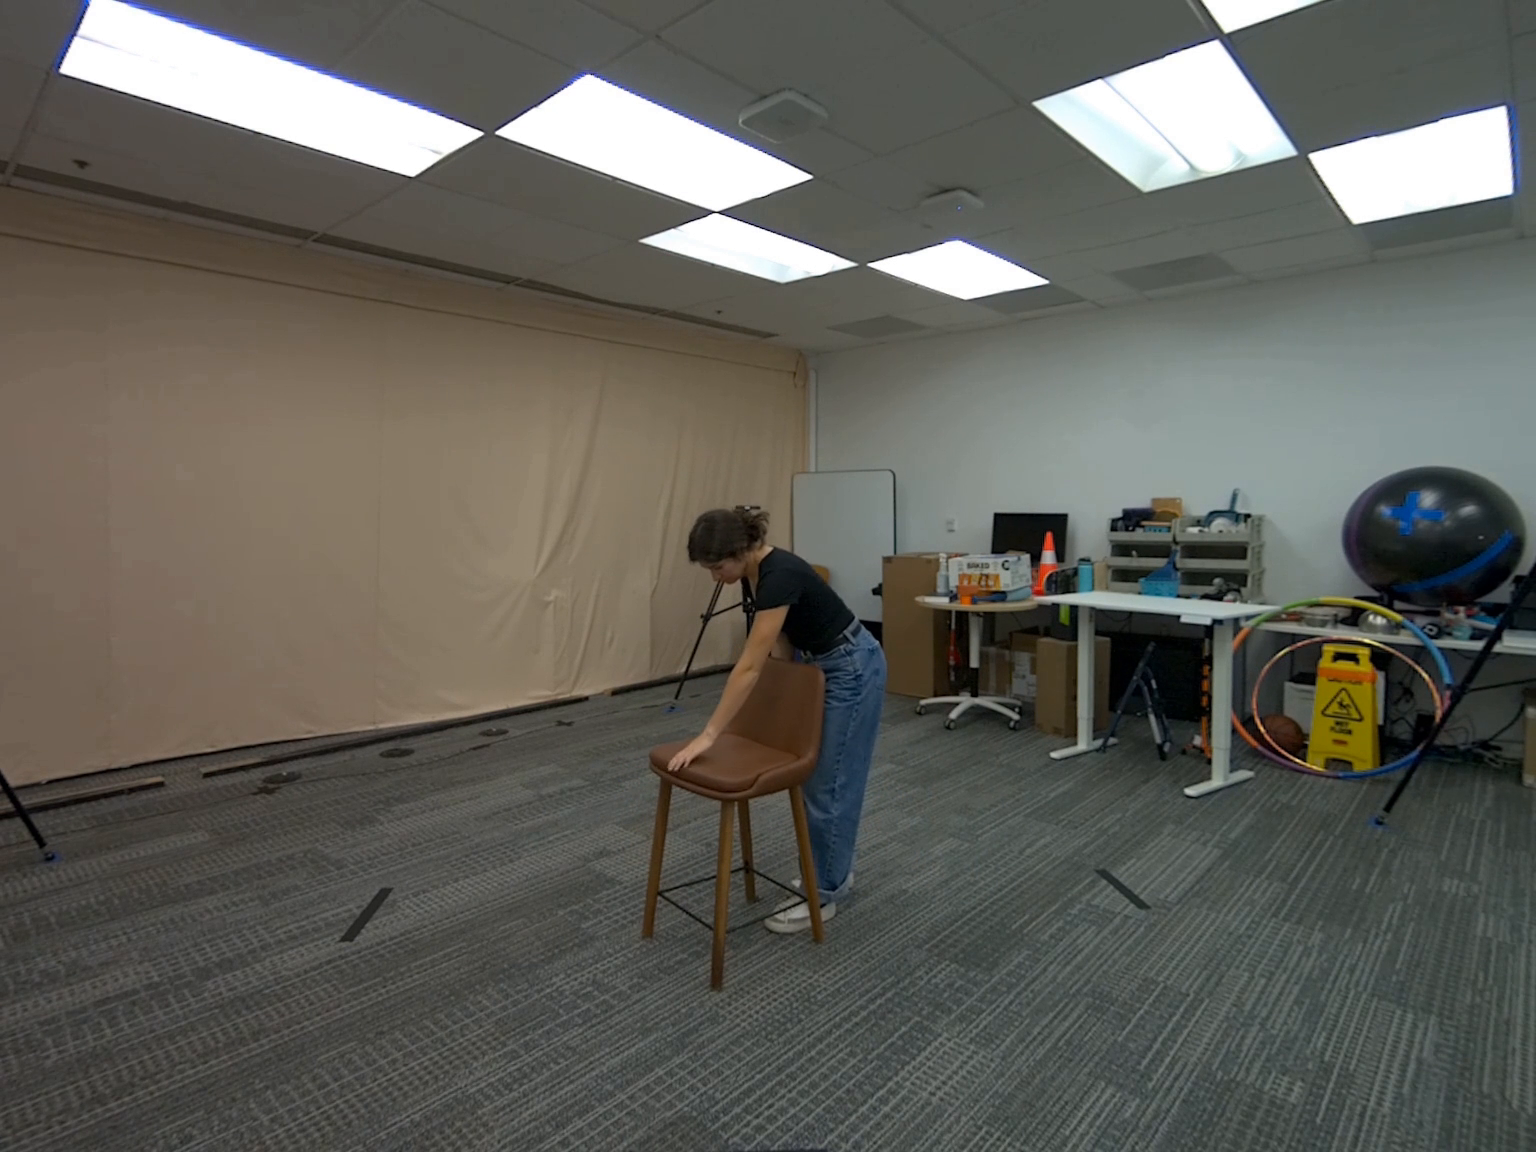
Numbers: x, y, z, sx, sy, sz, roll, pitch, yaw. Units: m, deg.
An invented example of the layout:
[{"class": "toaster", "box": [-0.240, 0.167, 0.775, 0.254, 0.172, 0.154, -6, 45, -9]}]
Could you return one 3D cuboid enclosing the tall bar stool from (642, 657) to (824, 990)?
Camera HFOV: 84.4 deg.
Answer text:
[{"class": "tall bar stool", "box": [-0.104, 0.734, 2.686, 0.453, 0.888, 0.471, -1, 4, -39]}]
